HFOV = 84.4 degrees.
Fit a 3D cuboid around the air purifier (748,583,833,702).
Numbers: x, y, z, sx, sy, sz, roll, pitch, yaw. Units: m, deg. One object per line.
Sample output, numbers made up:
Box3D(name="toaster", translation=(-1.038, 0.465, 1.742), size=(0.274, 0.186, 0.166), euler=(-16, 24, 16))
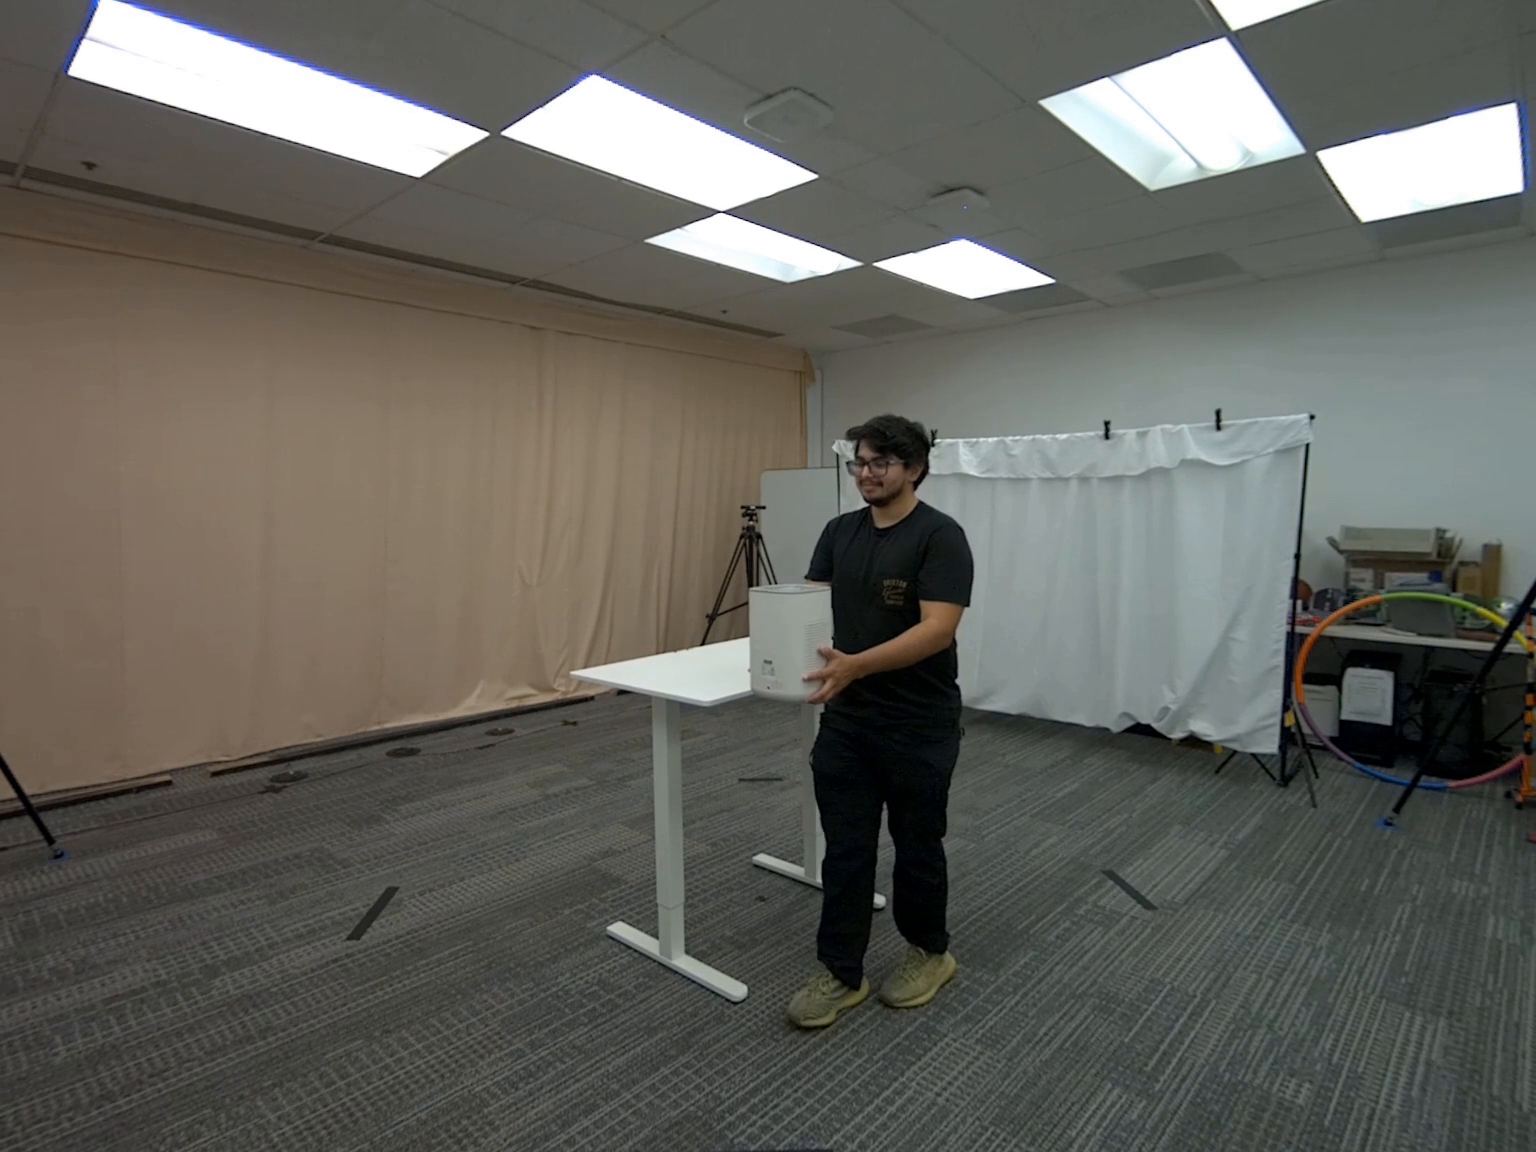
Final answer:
Box3D(name="air purifier", translation=(0.059, 0.159, 2.043), size=(0.177, 0.265, 0.166), euler=(2, 5, 42))
